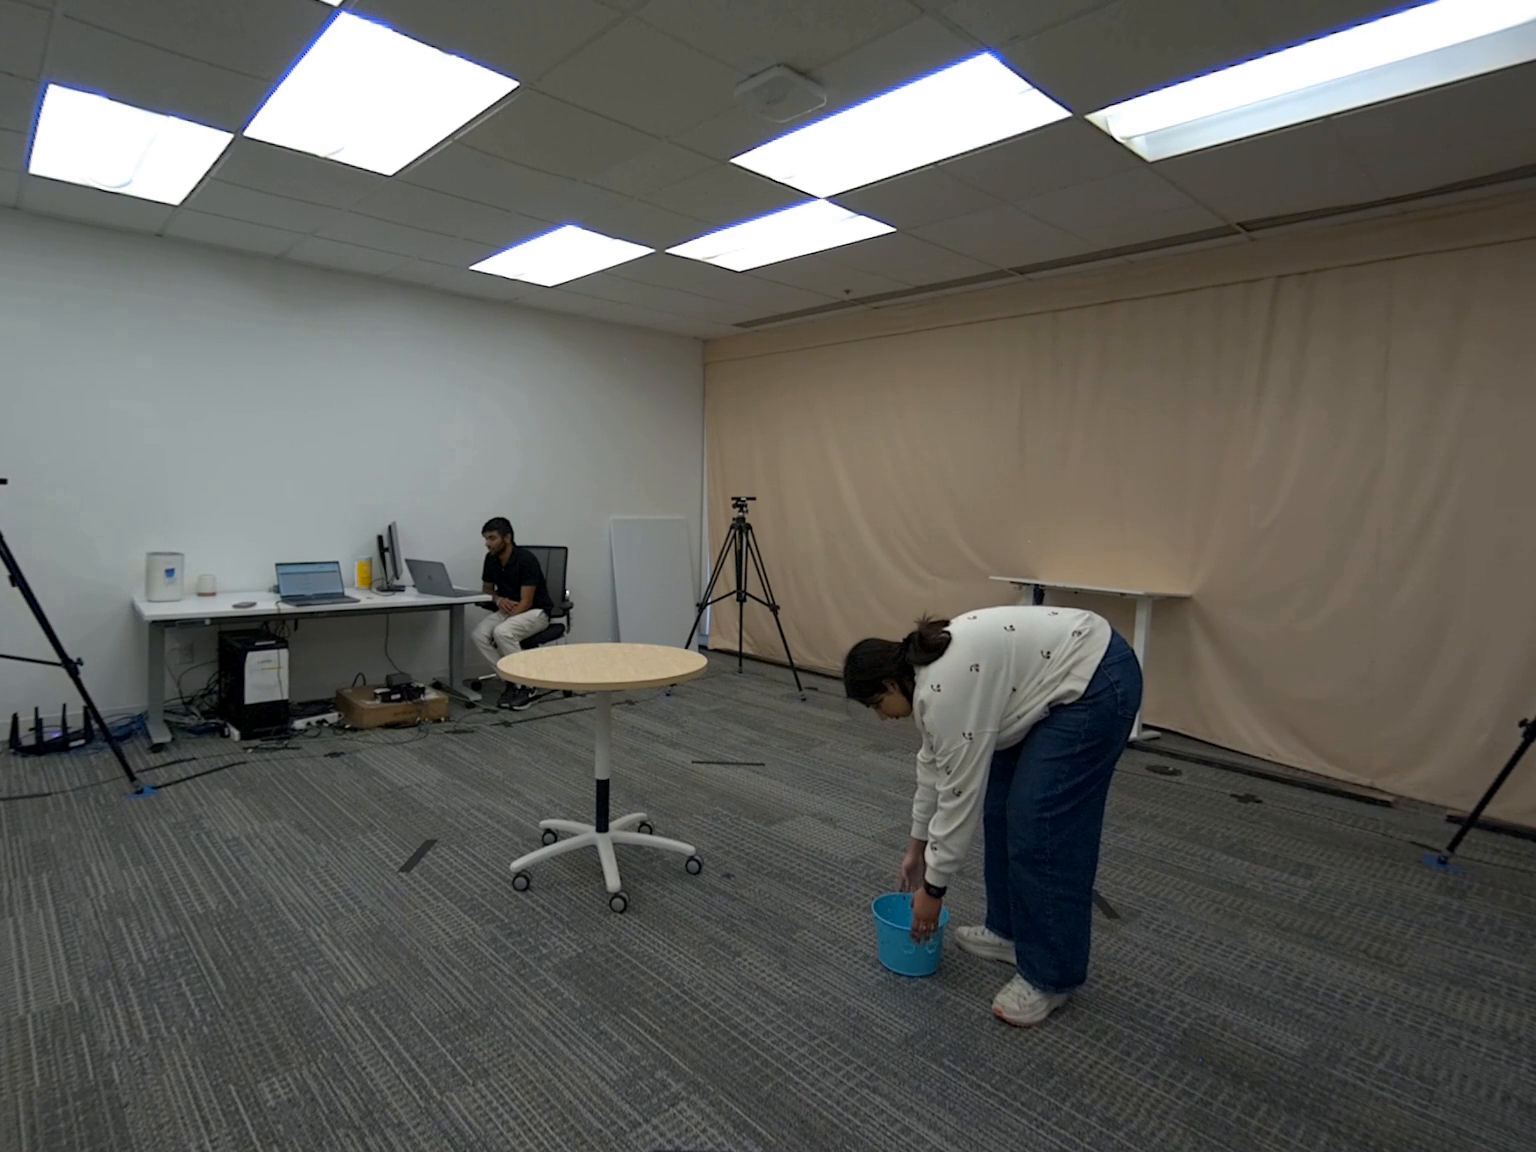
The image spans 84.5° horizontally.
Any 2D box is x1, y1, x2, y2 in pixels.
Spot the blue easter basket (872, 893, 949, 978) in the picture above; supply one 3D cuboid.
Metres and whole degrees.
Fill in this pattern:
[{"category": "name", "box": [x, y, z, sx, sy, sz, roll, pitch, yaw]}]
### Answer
[{"category": "blue easter basket", "box": [0.431, 1.081, 2.561, 0.243, 0.155, 0.244, 2, 5, -2]}]
